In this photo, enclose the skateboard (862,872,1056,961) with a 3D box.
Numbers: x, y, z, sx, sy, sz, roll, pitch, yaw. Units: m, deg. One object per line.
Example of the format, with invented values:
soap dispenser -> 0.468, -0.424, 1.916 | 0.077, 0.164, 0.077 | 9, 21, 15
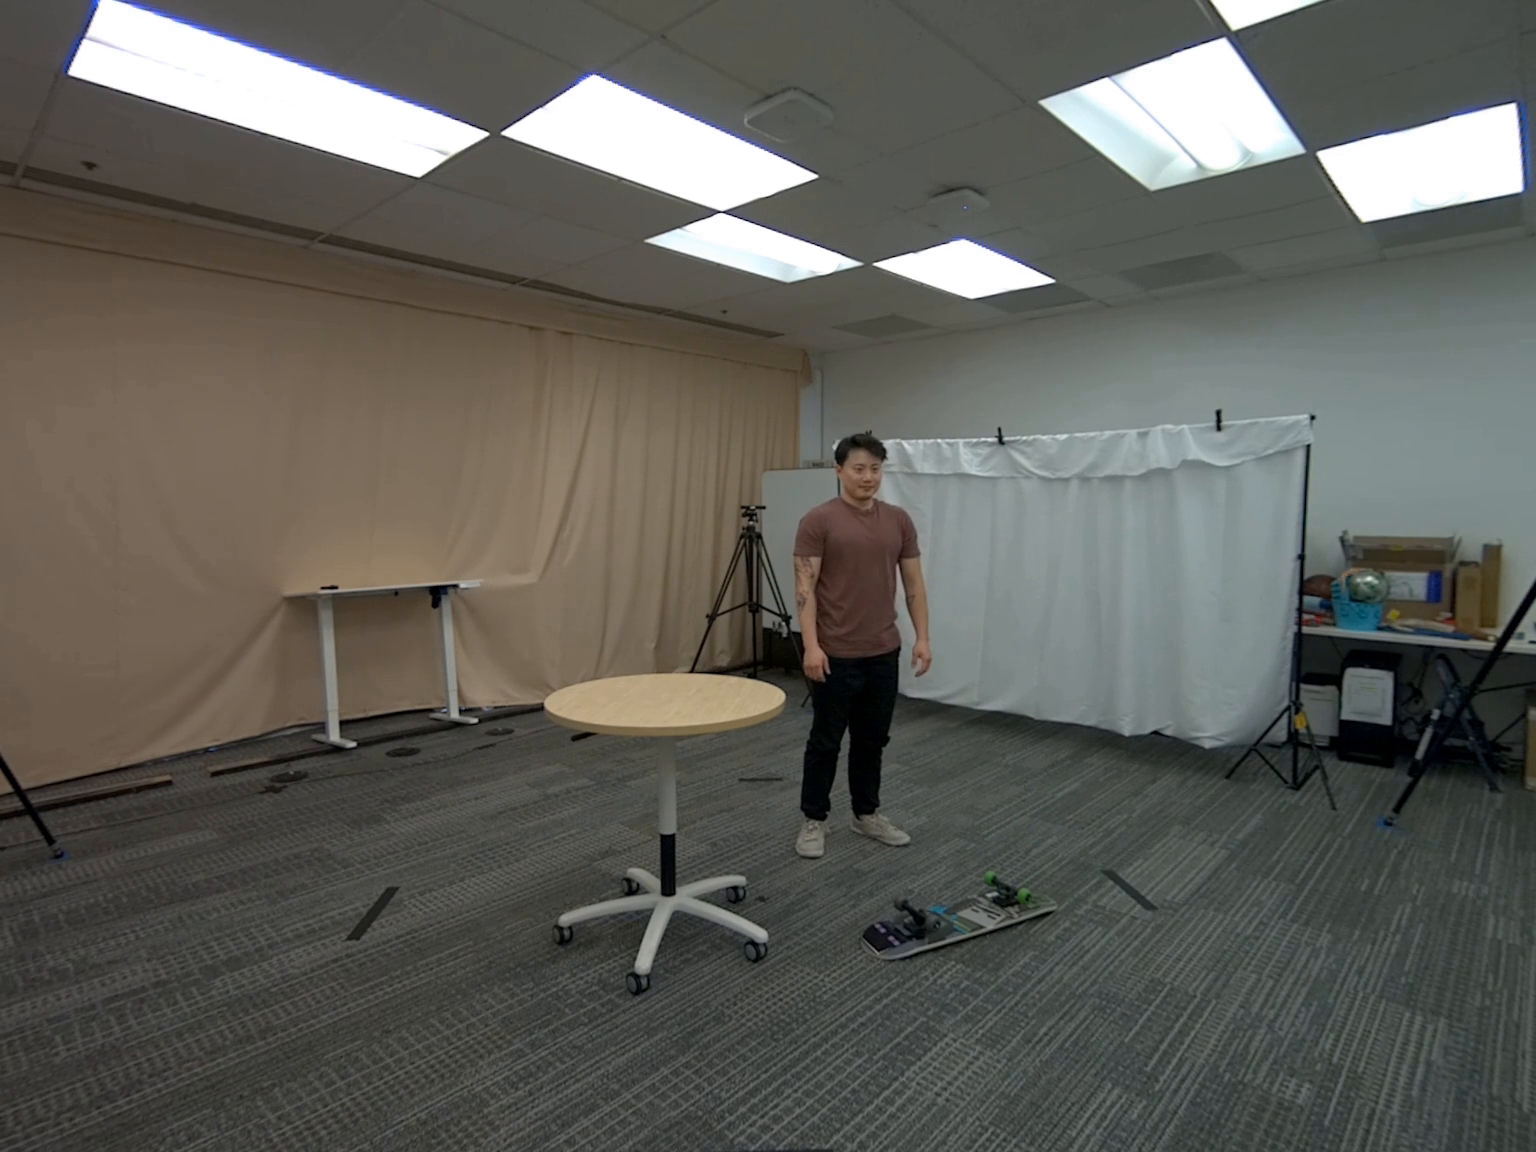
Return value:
skateboard -> 0.649, 1.096, 2.794 | 0.765, 0.110, 0.199 | -2, 4, -28
